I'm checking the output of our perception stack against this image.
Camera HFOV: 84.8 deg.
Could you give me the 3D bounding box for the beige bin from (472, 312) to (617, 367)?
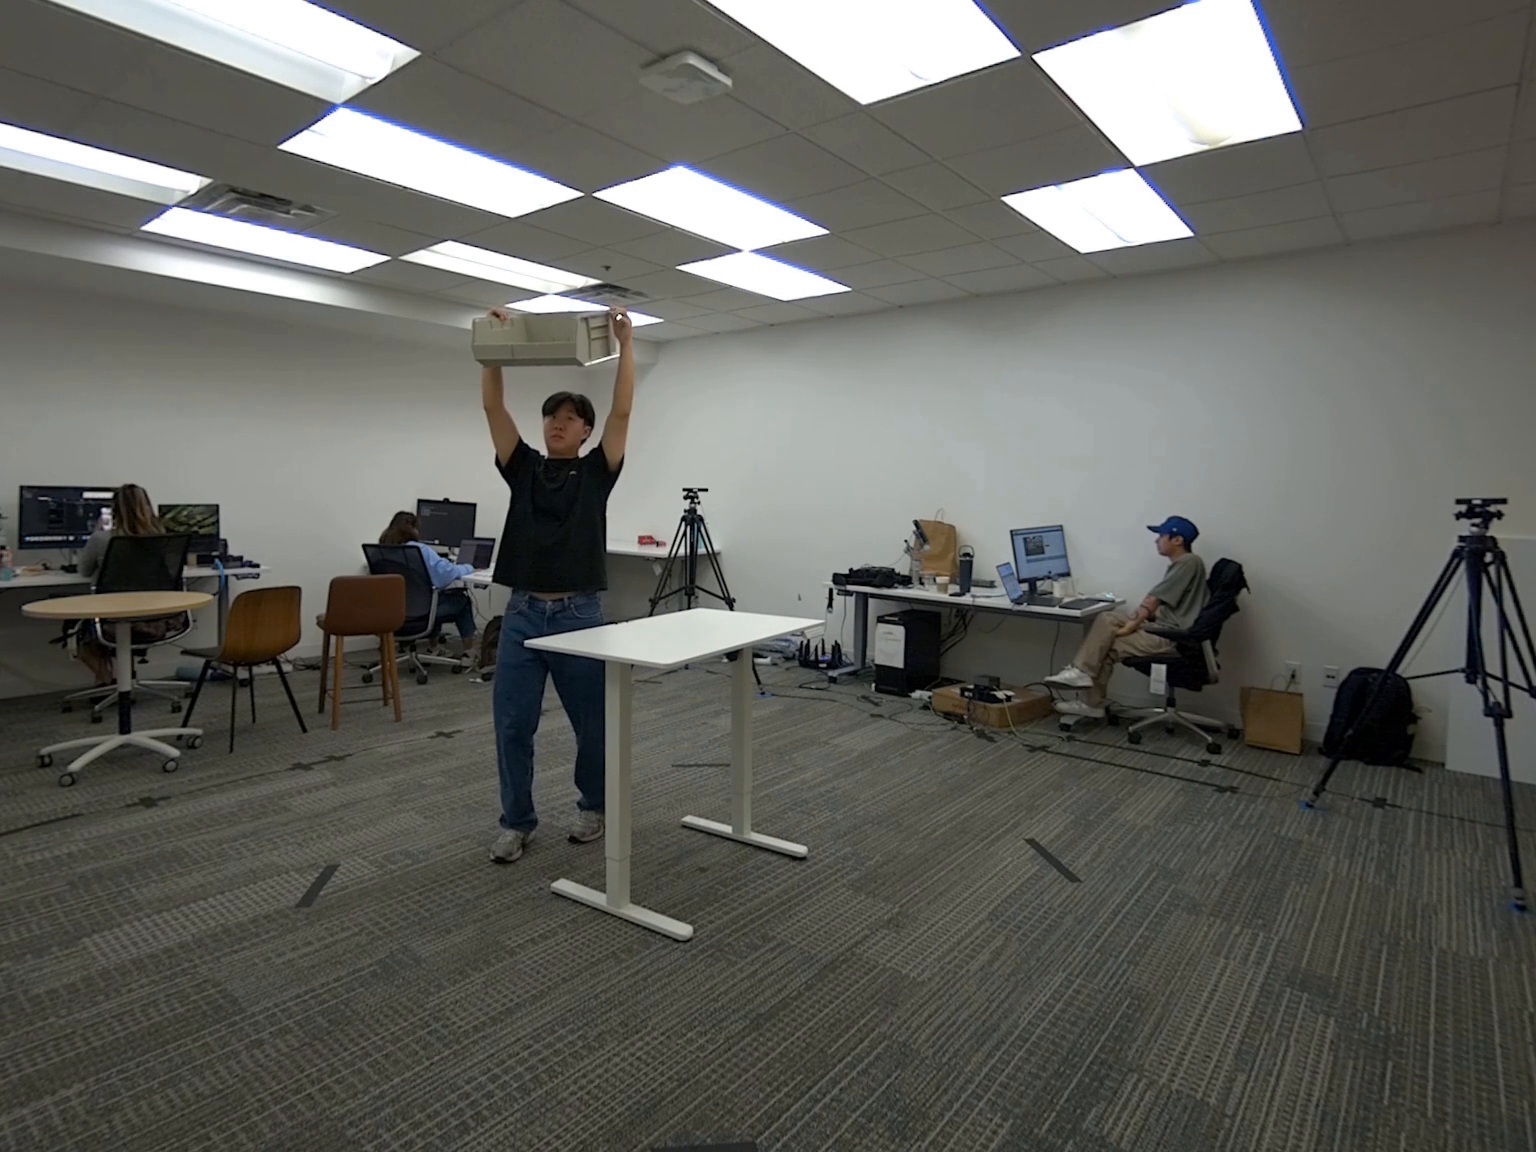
[{"bbox_3d":[-0.813,-0.865,3.116,0.430,0.185,0.378,2,21,16],"label":"beige bin"}]
